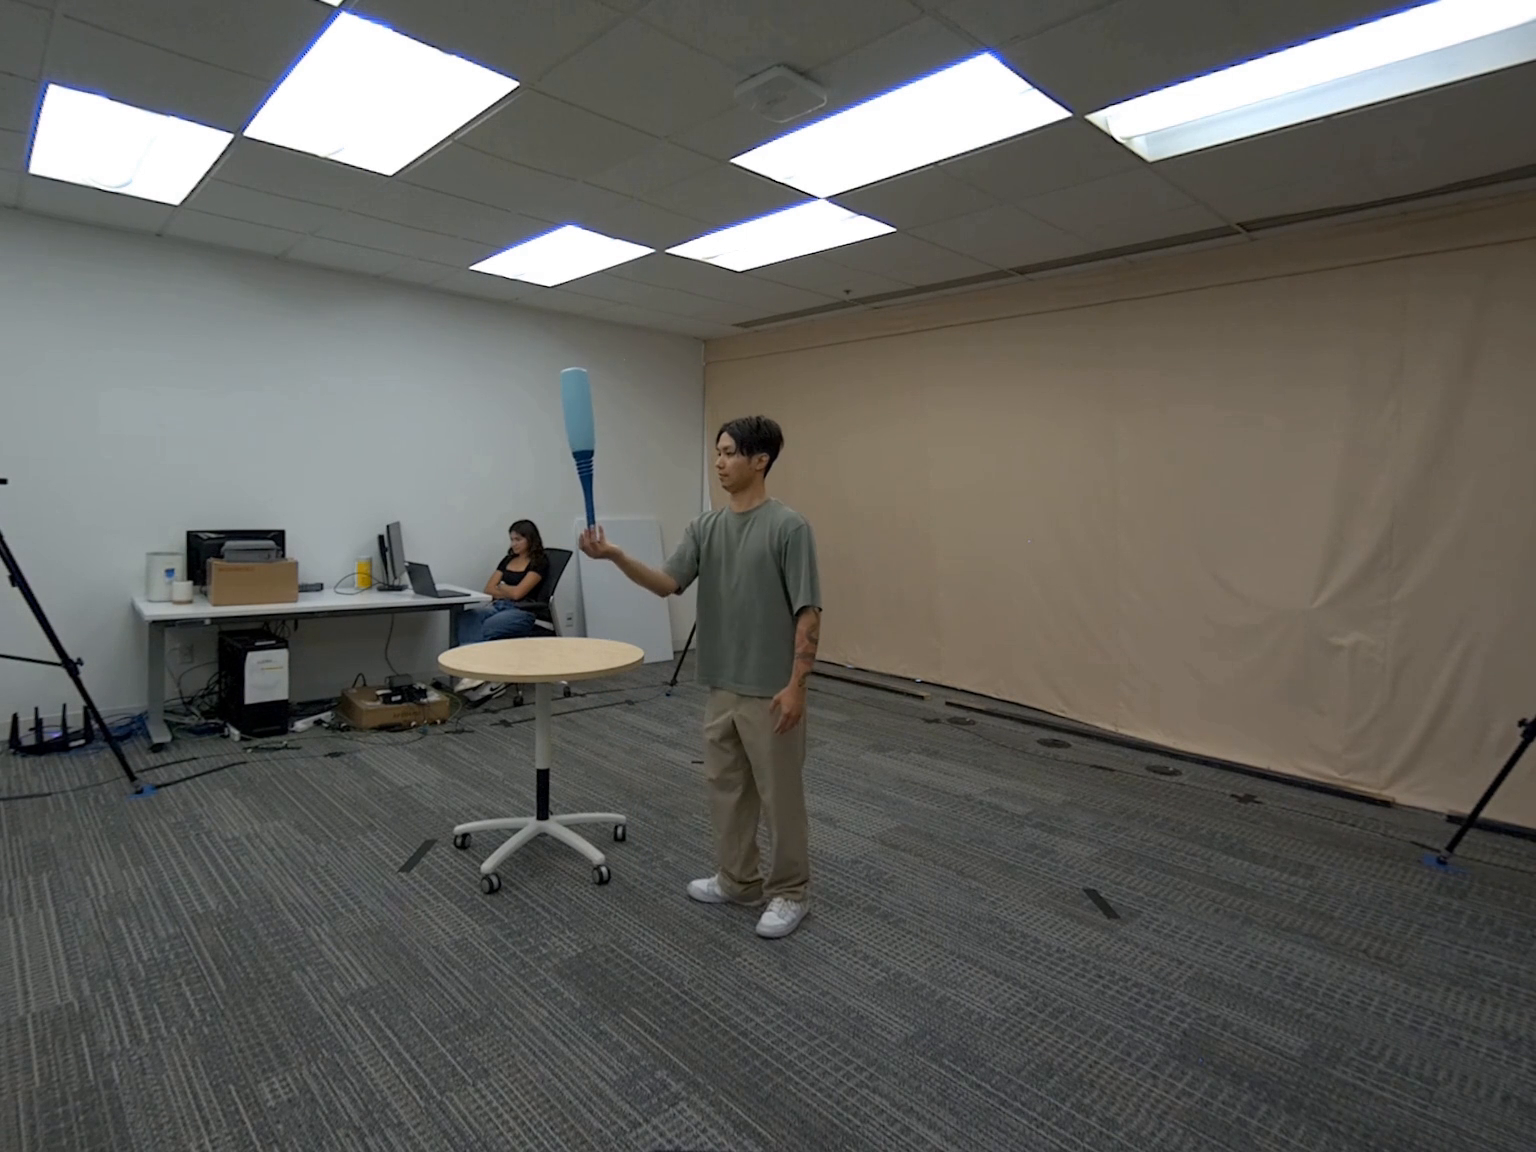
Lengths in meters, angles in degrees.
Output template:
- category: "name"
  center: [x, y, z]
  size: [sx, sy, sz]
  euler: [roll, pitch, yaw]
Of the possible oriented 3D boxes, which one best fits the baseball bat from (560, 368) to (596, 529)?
- category: "baseball bat"
  center: [-0.573, -0.362, 2.541]
  size: [0.089, 0.543, 0.089]
  euler: [-6, 1, -1]
